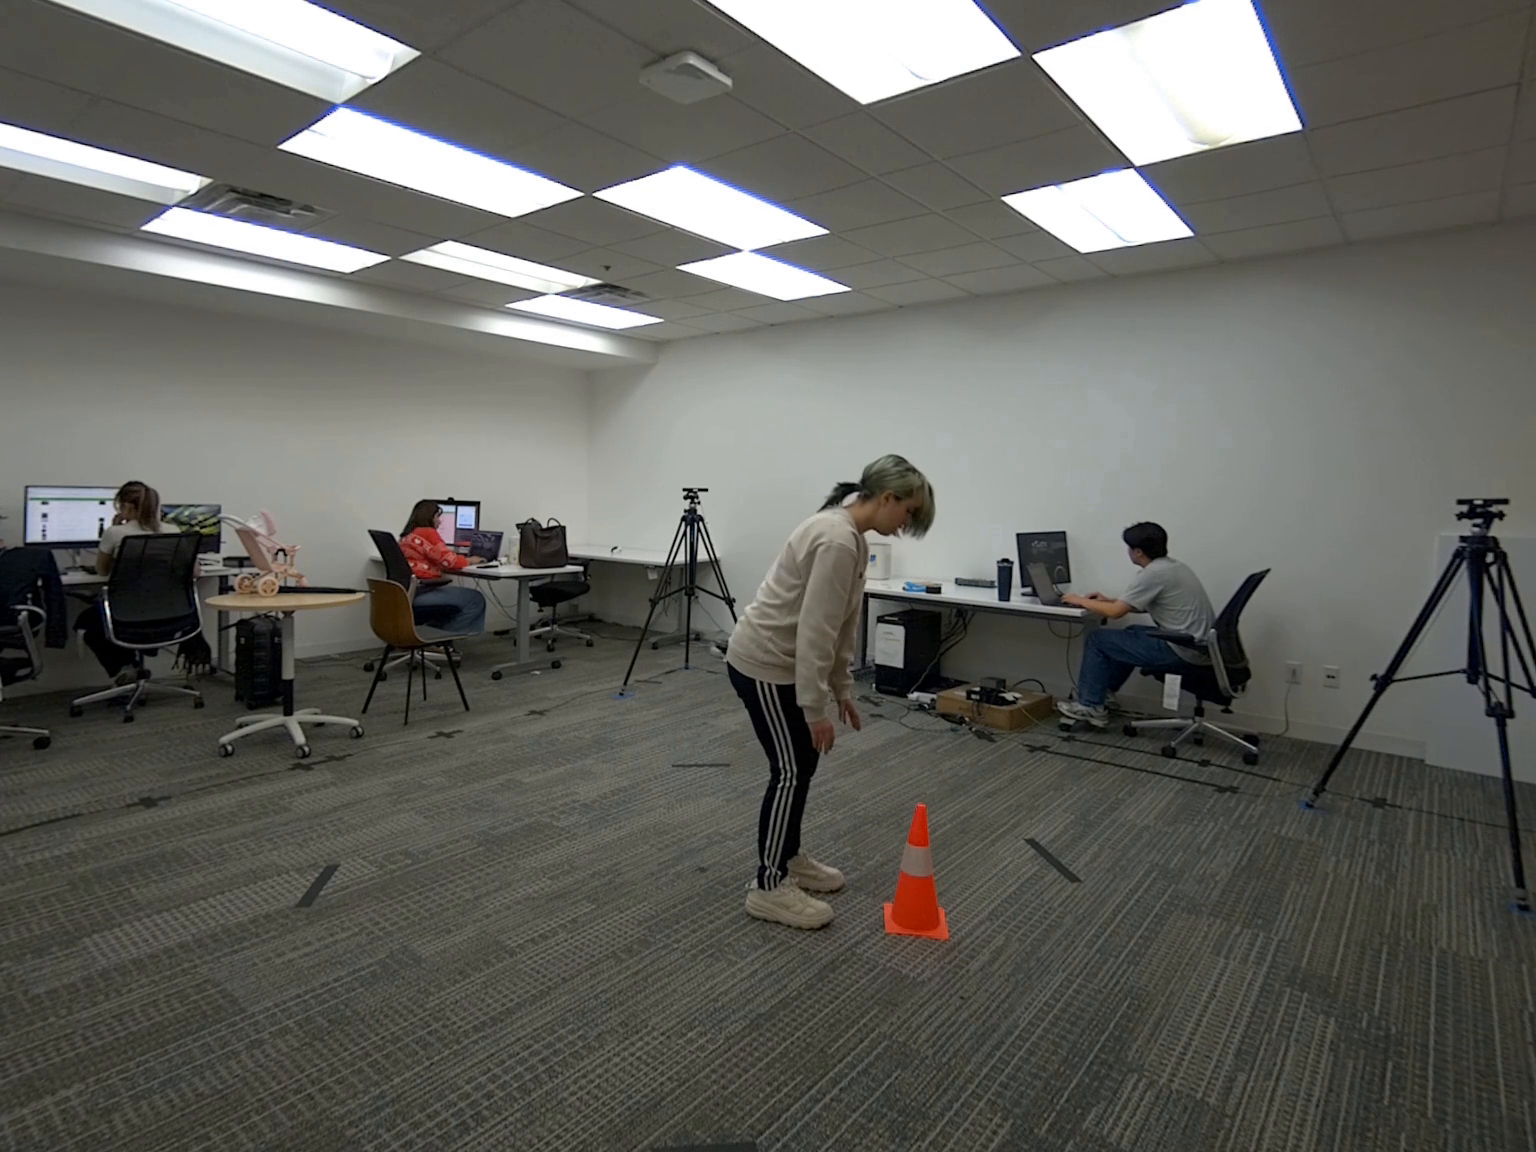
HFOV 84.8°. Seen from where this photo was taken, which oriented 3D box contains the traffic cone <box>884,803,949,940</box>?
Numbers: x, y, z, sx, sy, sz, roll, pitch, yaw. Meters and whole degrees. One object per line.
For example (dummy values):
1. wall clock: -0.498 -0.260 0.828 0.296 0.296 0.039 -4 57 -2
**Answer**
1. traffic cone: 0.477 0.934 2.770 0.205 0.383 0.203 1 1 0
